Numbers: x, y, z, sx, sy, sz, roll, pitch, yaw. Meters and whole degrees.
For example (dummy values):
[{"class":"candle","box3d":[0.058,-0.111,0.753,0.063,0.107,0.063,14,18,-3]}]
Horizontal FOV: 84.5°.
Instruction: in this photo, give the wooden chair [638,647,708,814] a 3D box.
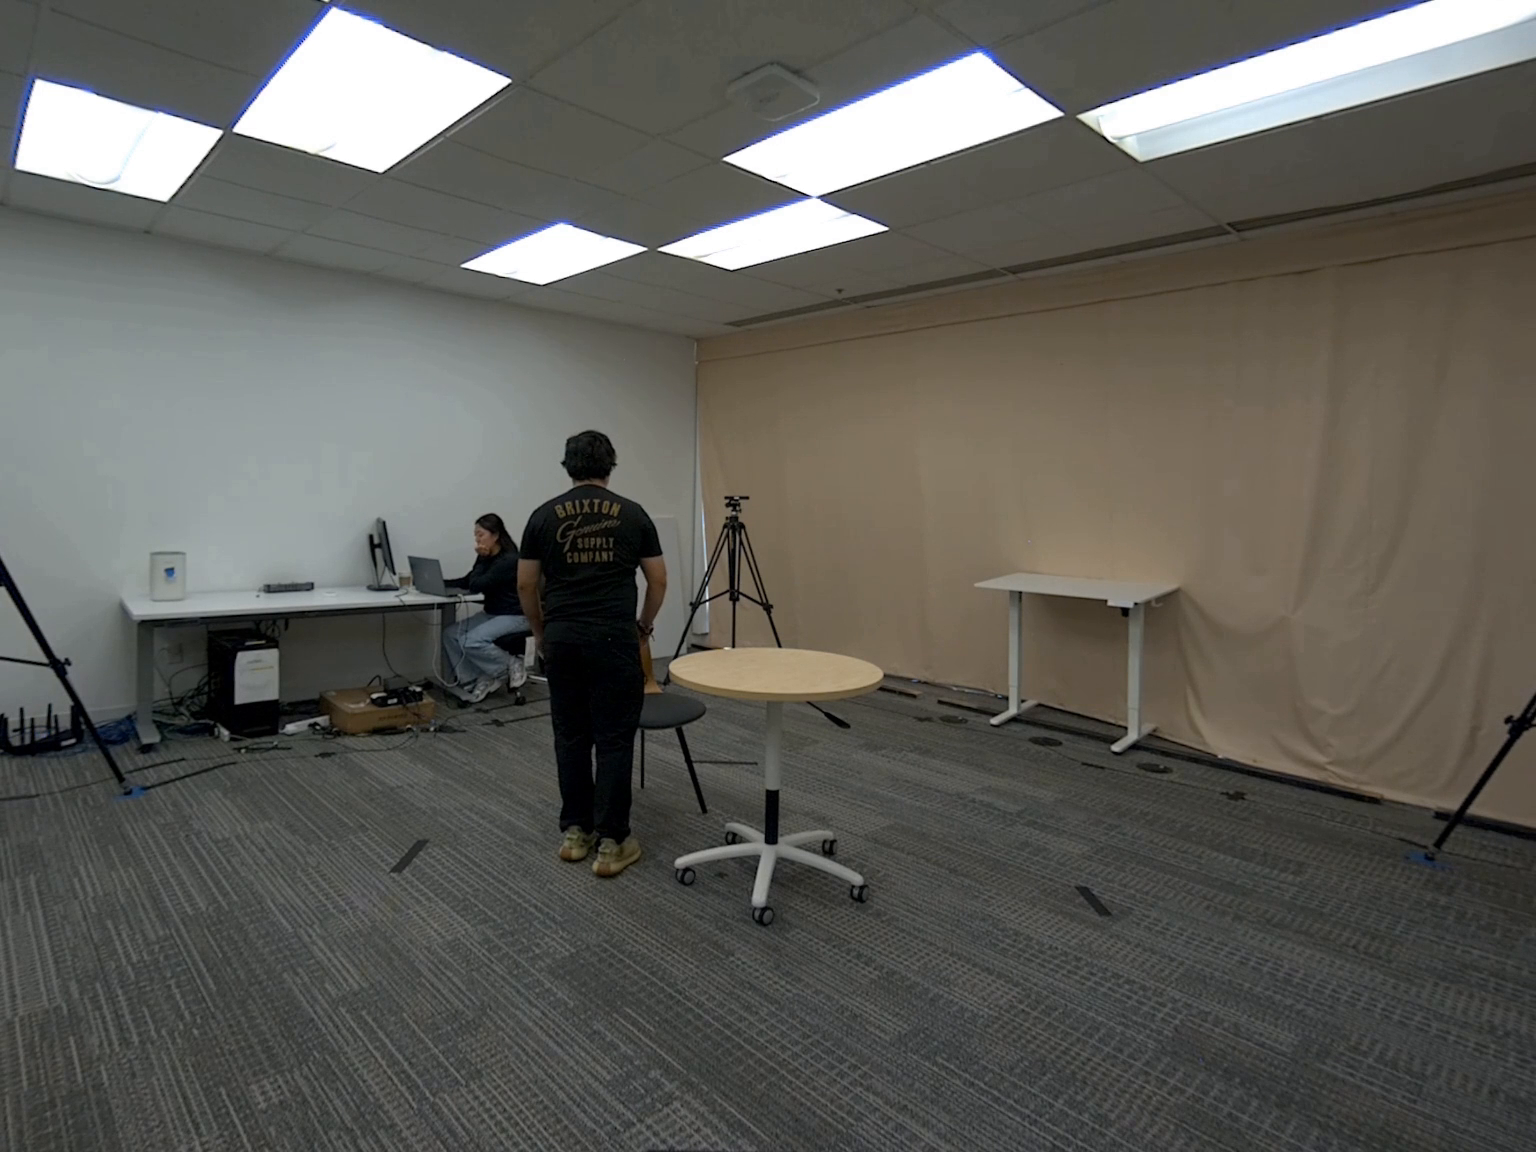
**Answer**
[{"class":"wooden chair","box3d":[-0.573,0.614,3.684,0.535,0.878,0.467,-1,0,44]}]
